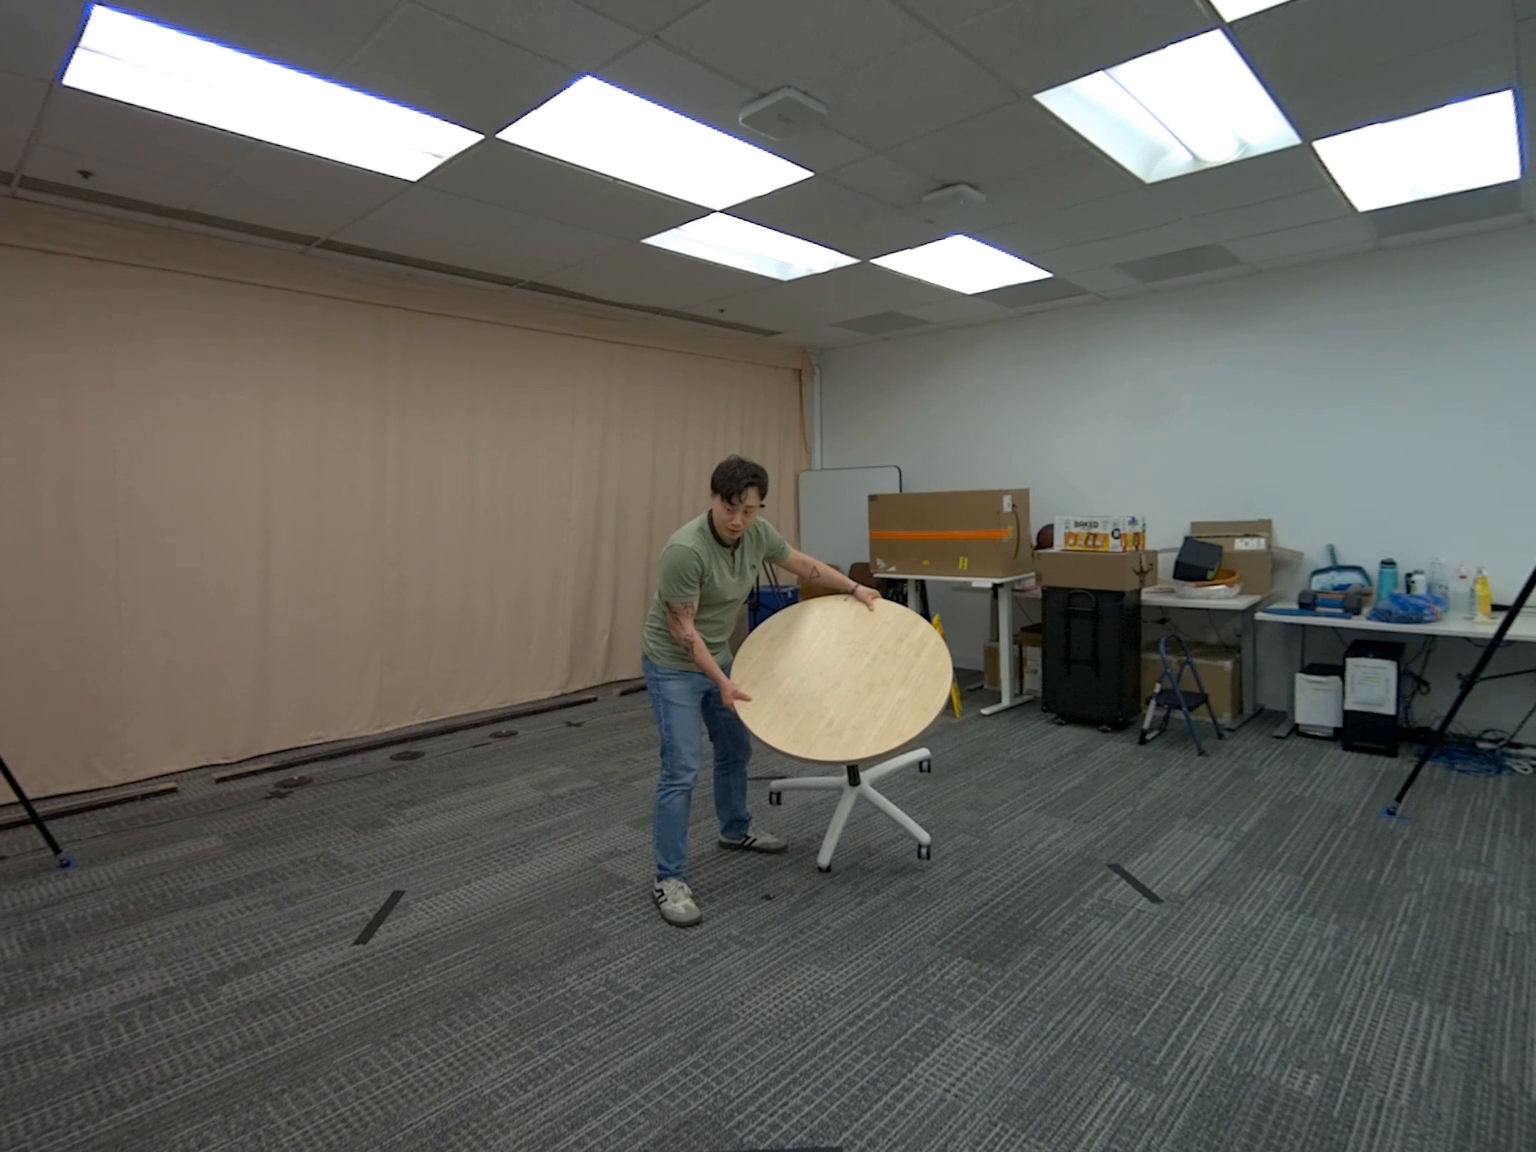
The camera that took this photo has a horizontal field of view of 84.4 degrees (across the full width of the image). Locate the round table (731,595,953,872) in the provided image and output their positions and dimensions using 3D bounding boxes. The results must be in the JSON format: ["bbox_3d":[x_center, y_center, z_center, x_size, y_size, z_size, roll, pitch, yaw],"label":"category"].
[{"bbox_3d":[0.308,0.620,3.160,0.768,0.775,0.778,-8,38,4],"label":"round table"}]
